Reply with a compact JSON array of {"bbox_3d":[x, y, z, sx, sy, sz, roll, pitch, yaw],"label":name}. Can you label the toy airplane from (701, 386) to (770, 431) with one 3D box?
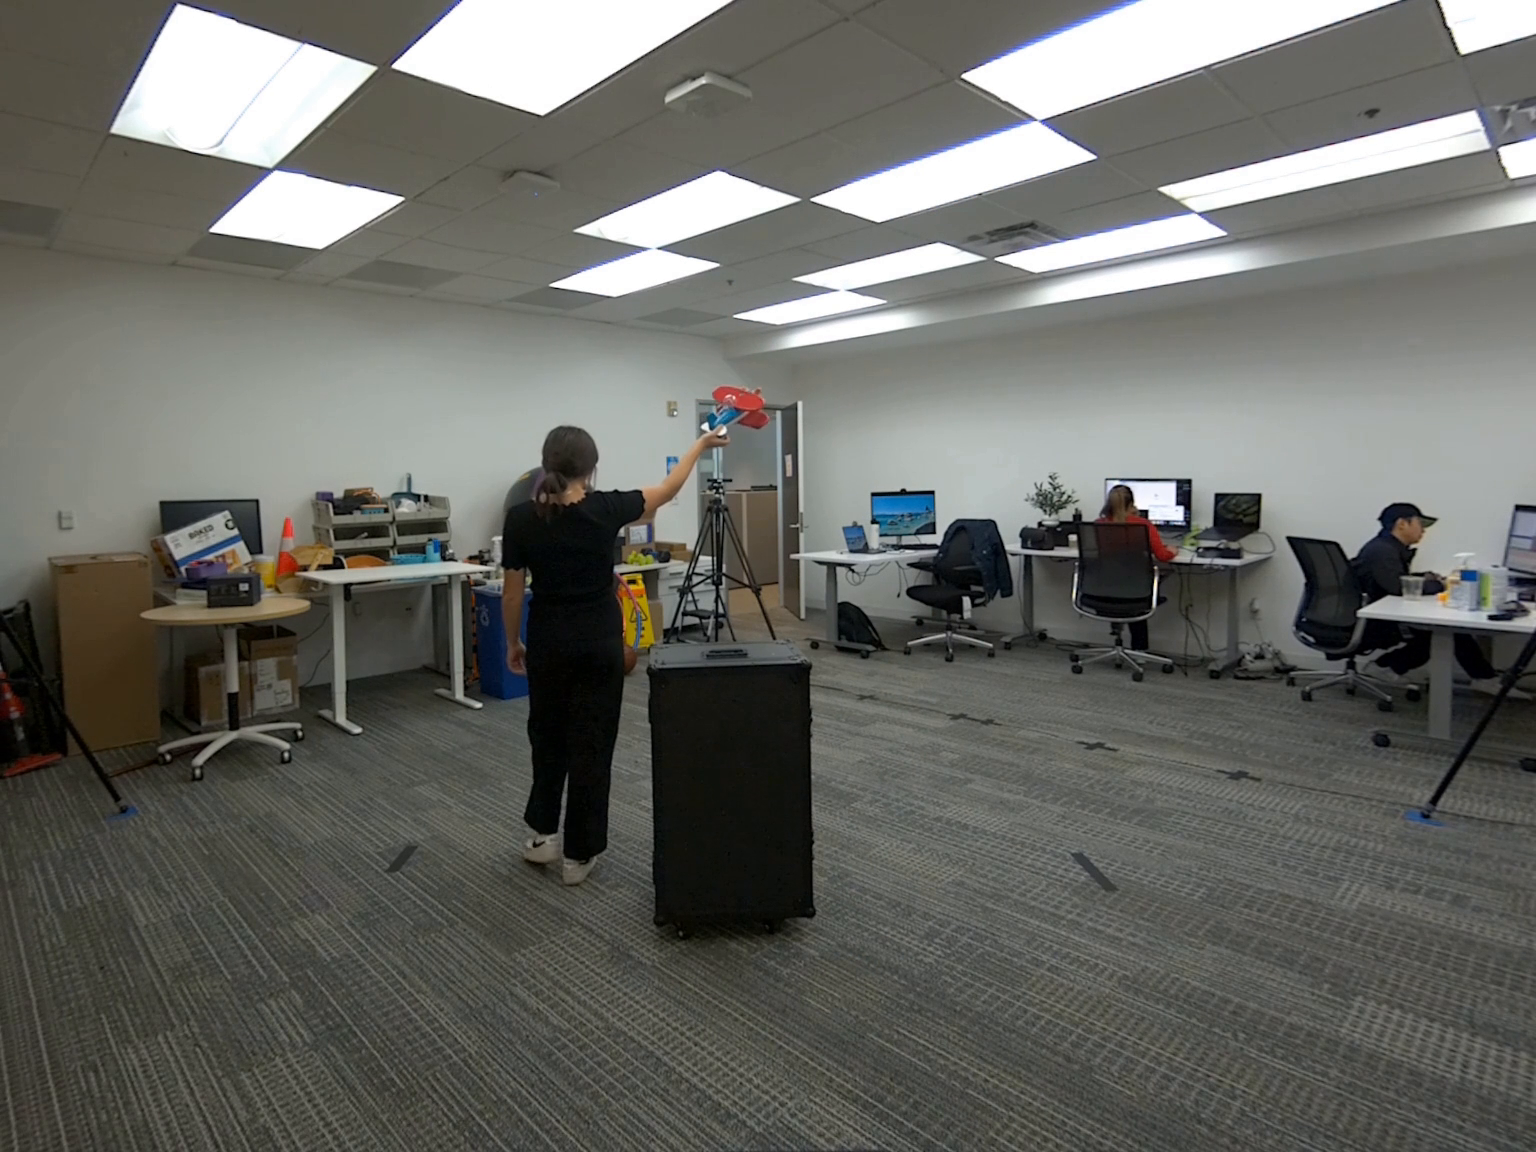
[{"bbox_3d":[-0.117,-0.619,3.292,0.256,0.152,0.261,6,34,16],"label":"toy airplane"}]
